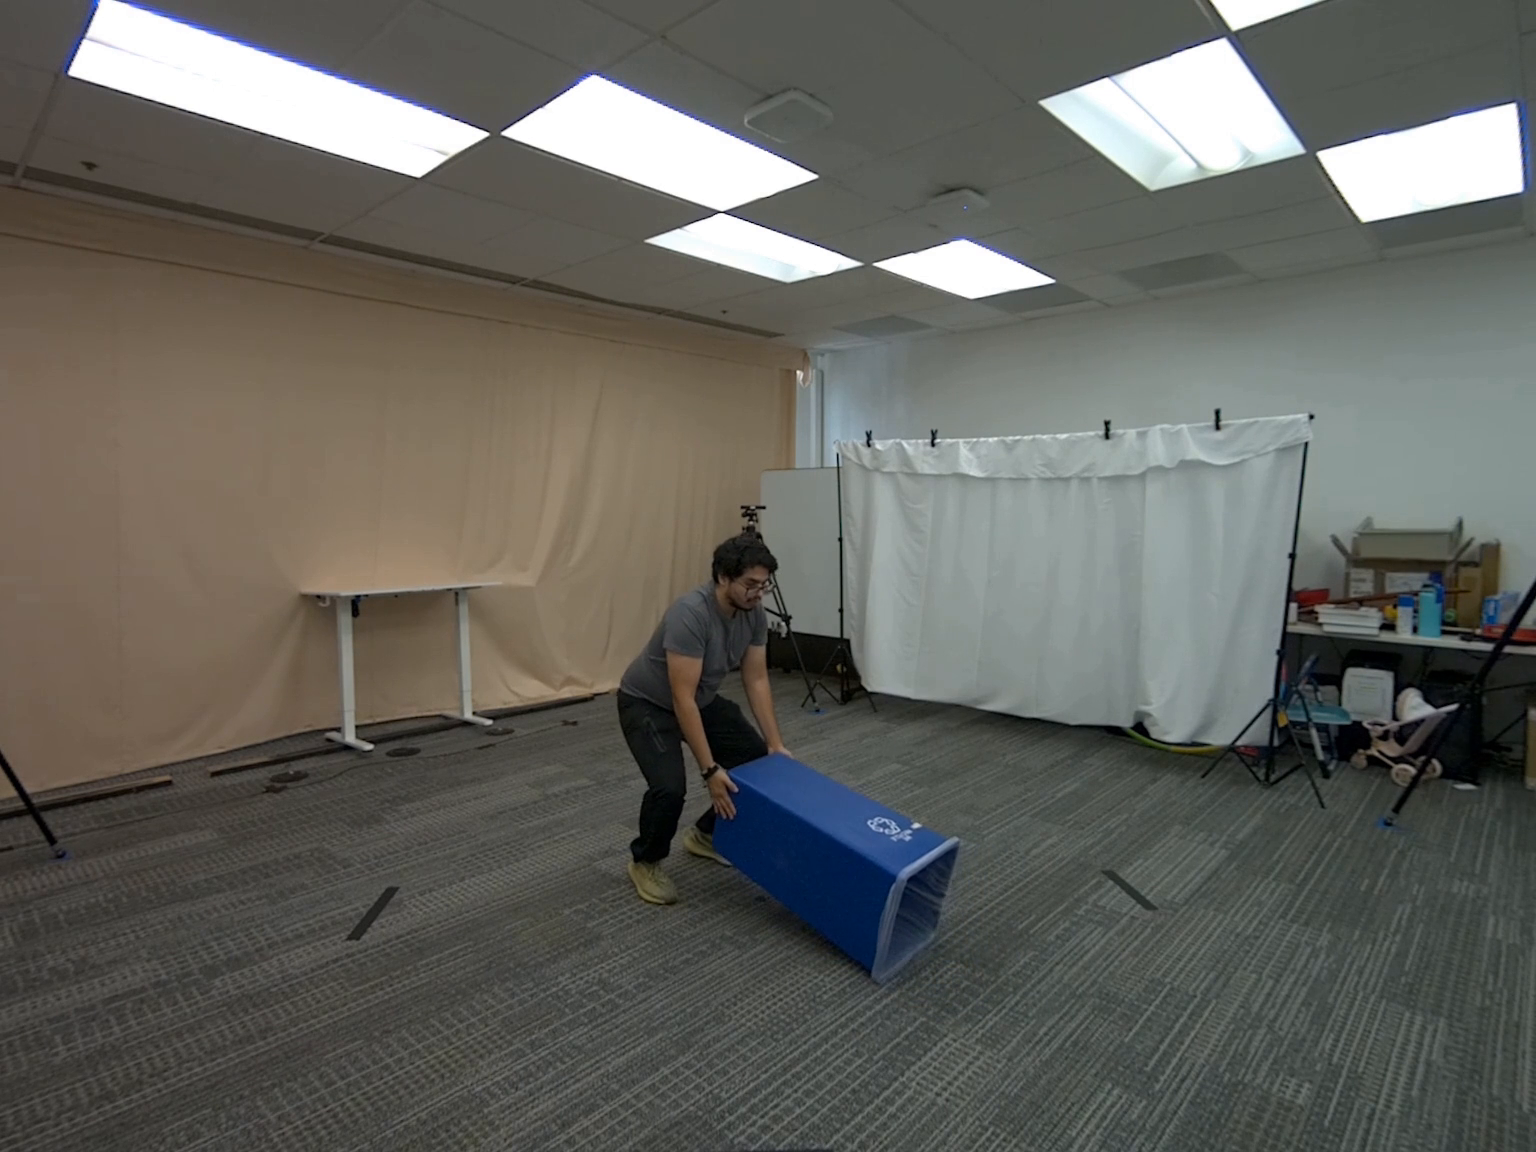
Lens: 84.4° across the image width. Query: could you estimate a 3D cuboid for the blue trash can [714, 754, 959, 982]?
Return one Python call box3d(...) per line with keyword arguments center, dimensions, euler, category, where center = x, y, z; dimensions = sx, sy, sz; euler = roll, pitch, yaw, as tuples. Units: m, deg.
box3d(center=(0.235, 0.931, 2.720), dimensions=(0.739, 0.376, 0.363), euler=(18, 15, 39), category="blue trash can")
